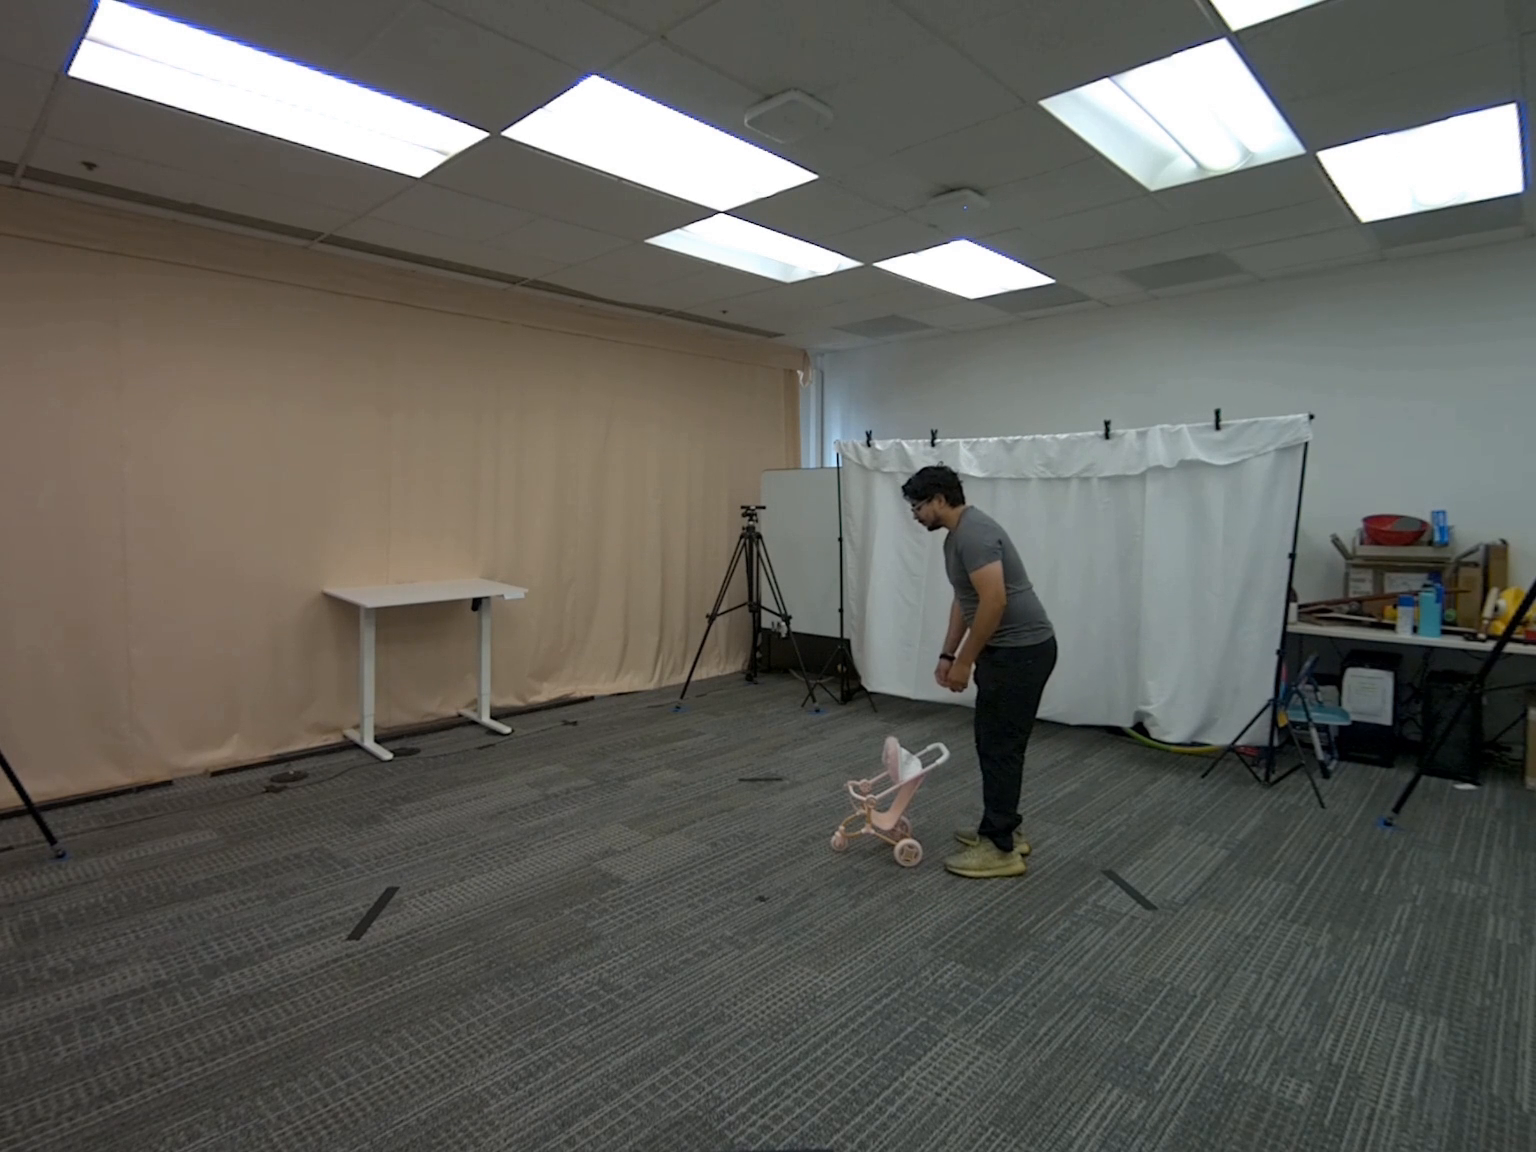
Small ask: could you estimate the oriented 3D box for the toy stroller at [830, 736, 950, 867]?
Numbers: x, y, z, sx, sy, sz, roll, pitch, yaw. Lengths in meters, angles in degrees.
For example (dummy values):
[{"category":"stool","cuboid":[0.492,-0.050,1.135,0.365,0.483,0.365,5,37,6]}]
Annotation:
[{"category":"toy stroller","cuboid":[0.479,0.890,3.368,0.344,0.534,0.280,17,5,5]}]
